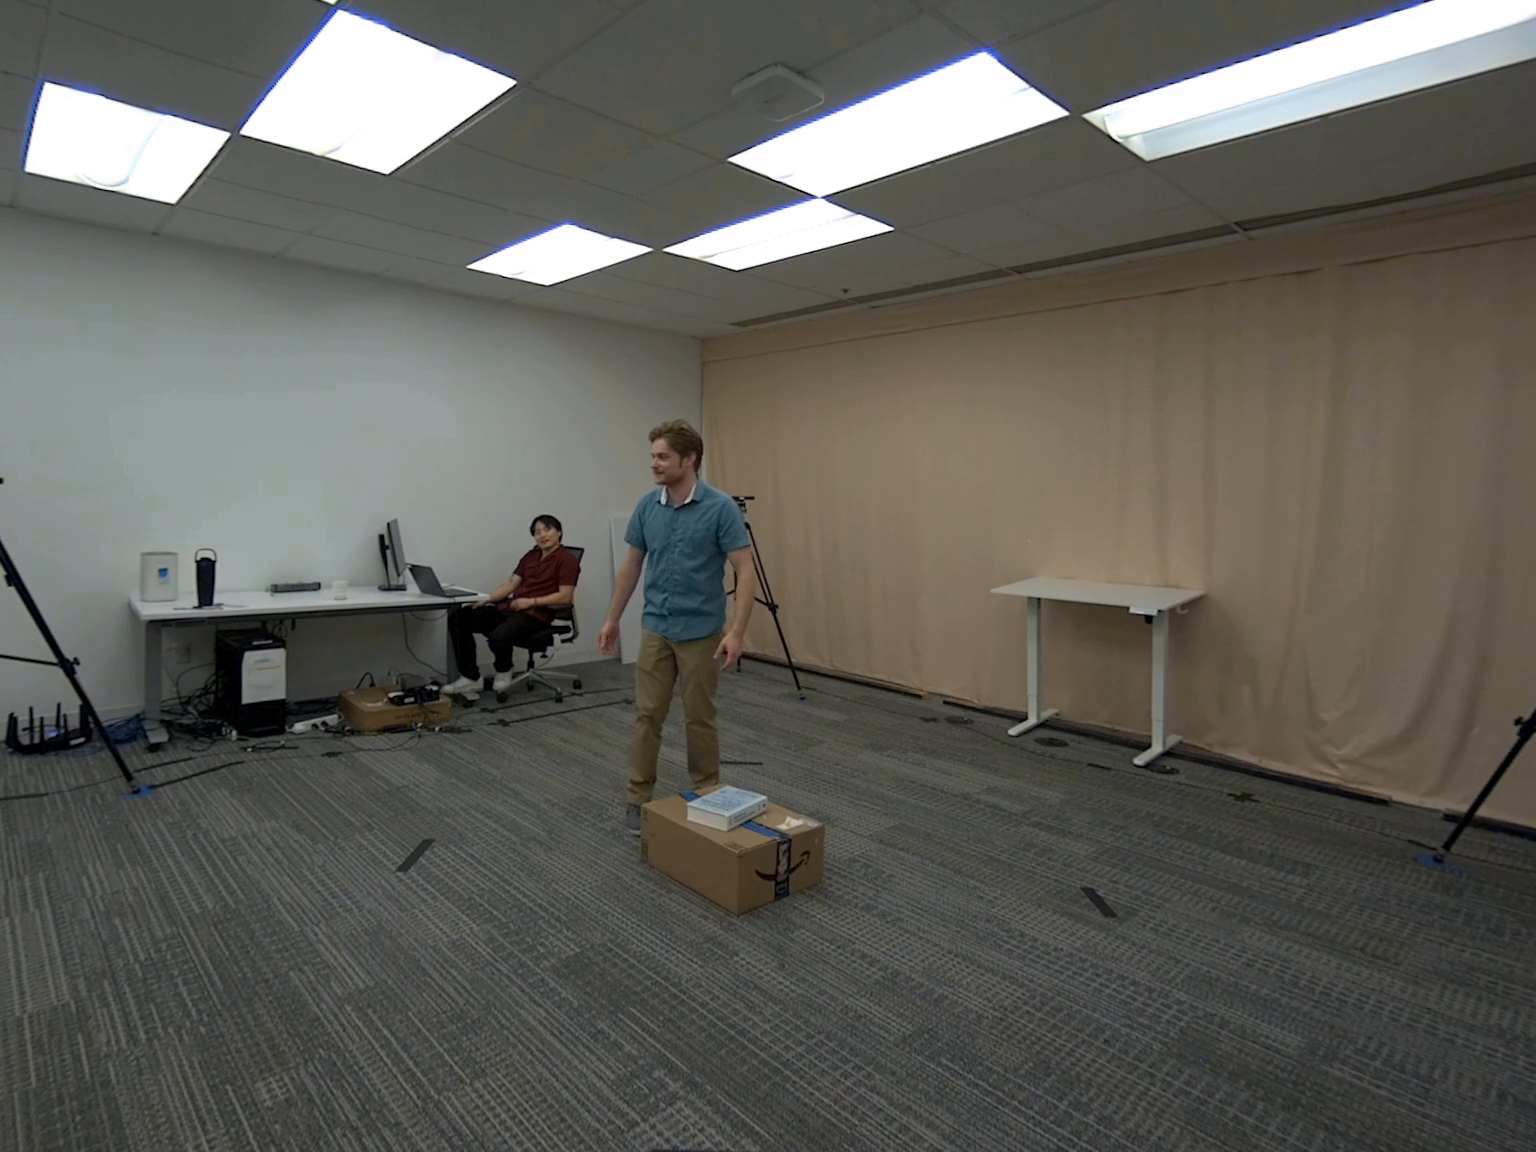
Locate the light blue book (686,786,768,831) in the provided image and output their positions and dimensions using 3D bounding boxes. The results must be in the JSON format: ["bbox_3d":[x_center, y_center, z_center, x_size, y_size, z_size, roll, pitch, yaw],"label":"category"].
[{"bbox_3d":[-0.162,0.860,3.133,0.196,0.059,0.255,4,5,34],"label":"light blue book"}]
